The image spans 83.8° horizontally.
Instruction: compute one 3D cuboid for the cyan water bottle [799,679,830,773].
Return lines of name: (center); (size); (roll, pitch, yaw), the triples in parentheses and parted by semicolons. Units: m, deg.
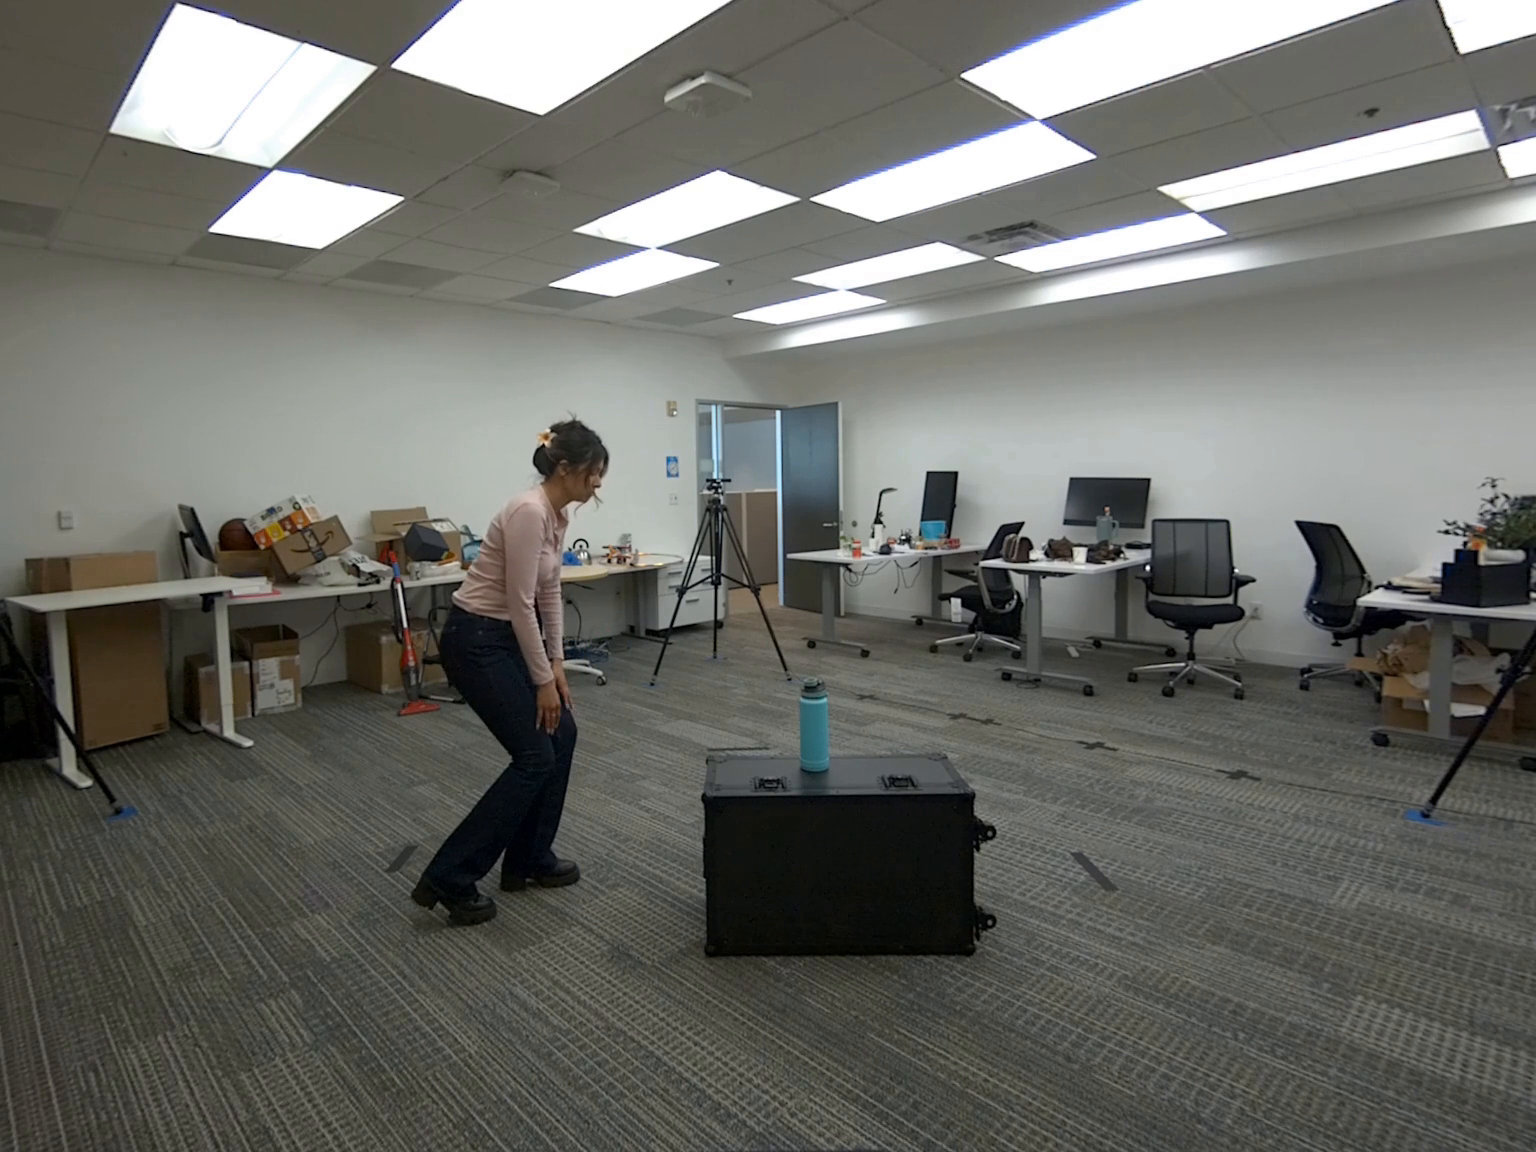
cyan water bottle: (0.143, 0.465, 2.690); (0.092, 0.282, 0.093); (-1, 4, -2)
